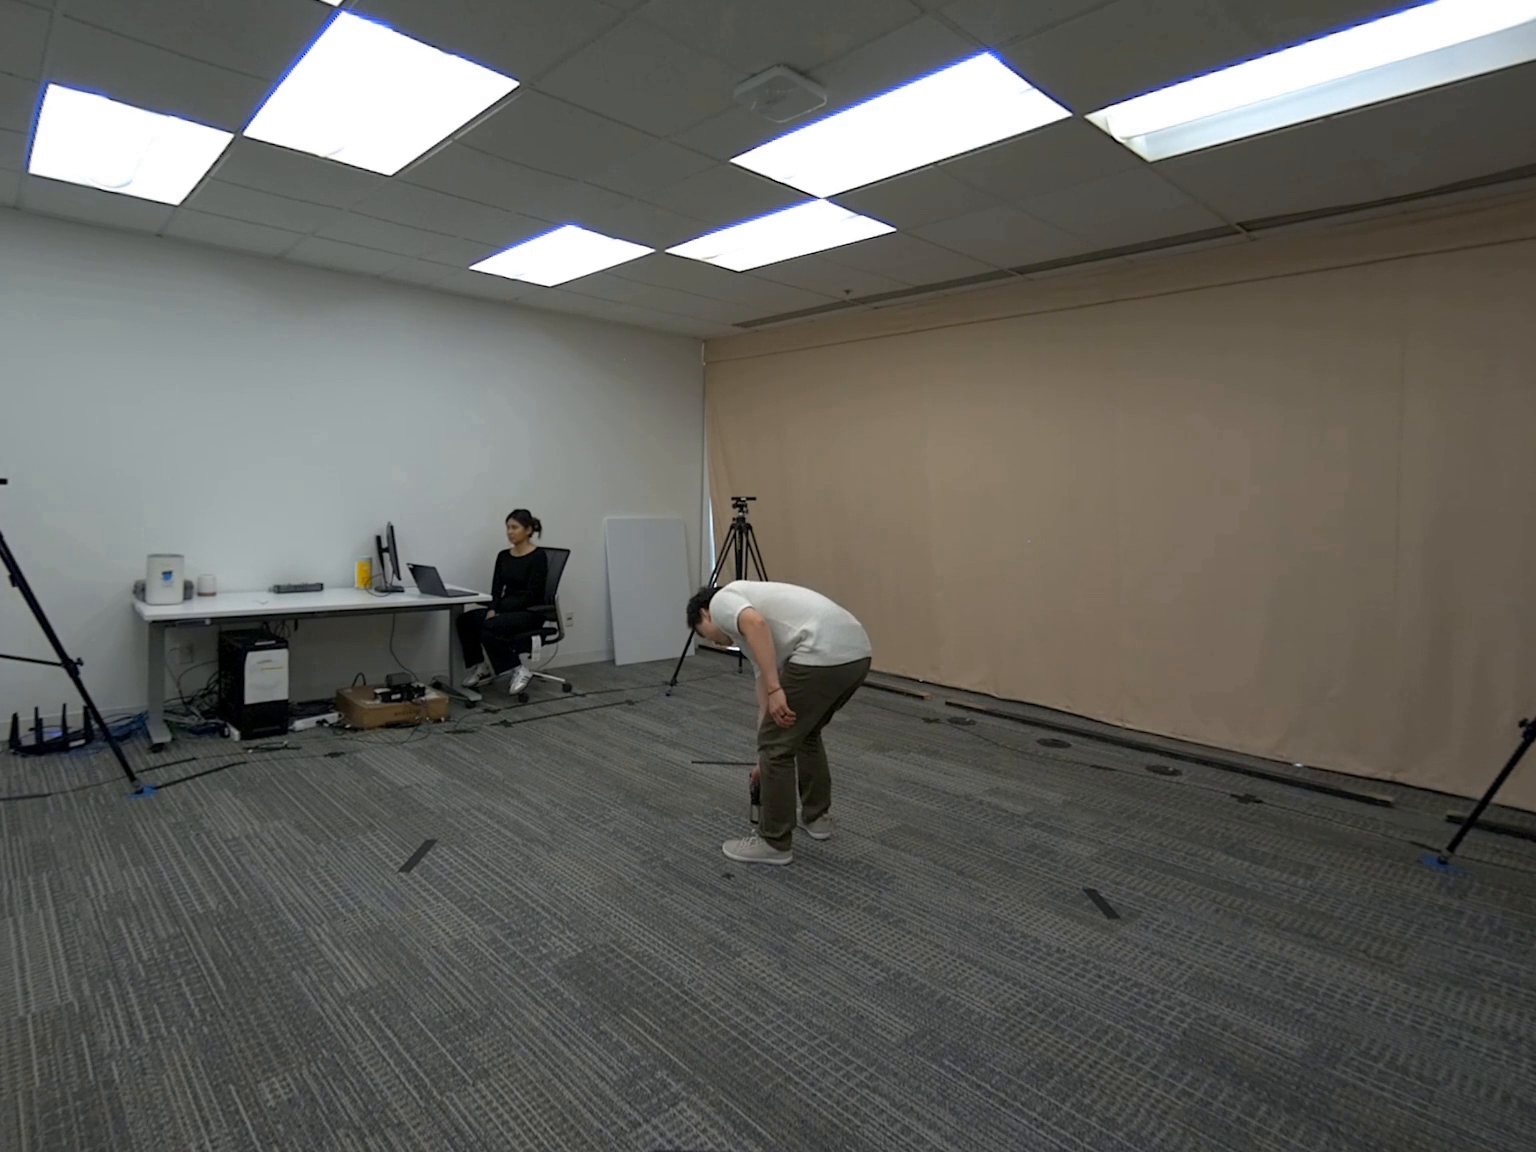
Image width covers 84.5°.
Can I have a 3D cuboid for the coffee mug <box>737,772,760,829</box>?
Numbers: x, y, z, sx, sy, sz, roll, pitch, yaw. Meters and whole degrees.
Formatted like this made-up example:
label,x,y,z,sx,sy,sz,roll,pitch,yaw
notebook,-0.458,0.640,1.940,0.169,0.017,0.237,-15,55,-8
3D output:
label,x,y,z,sx,sy,sz,roll,pitch,yaw
coffee mug,-0.051,0.956,3.632,0.090,0.203,0.119,3,-3,43
